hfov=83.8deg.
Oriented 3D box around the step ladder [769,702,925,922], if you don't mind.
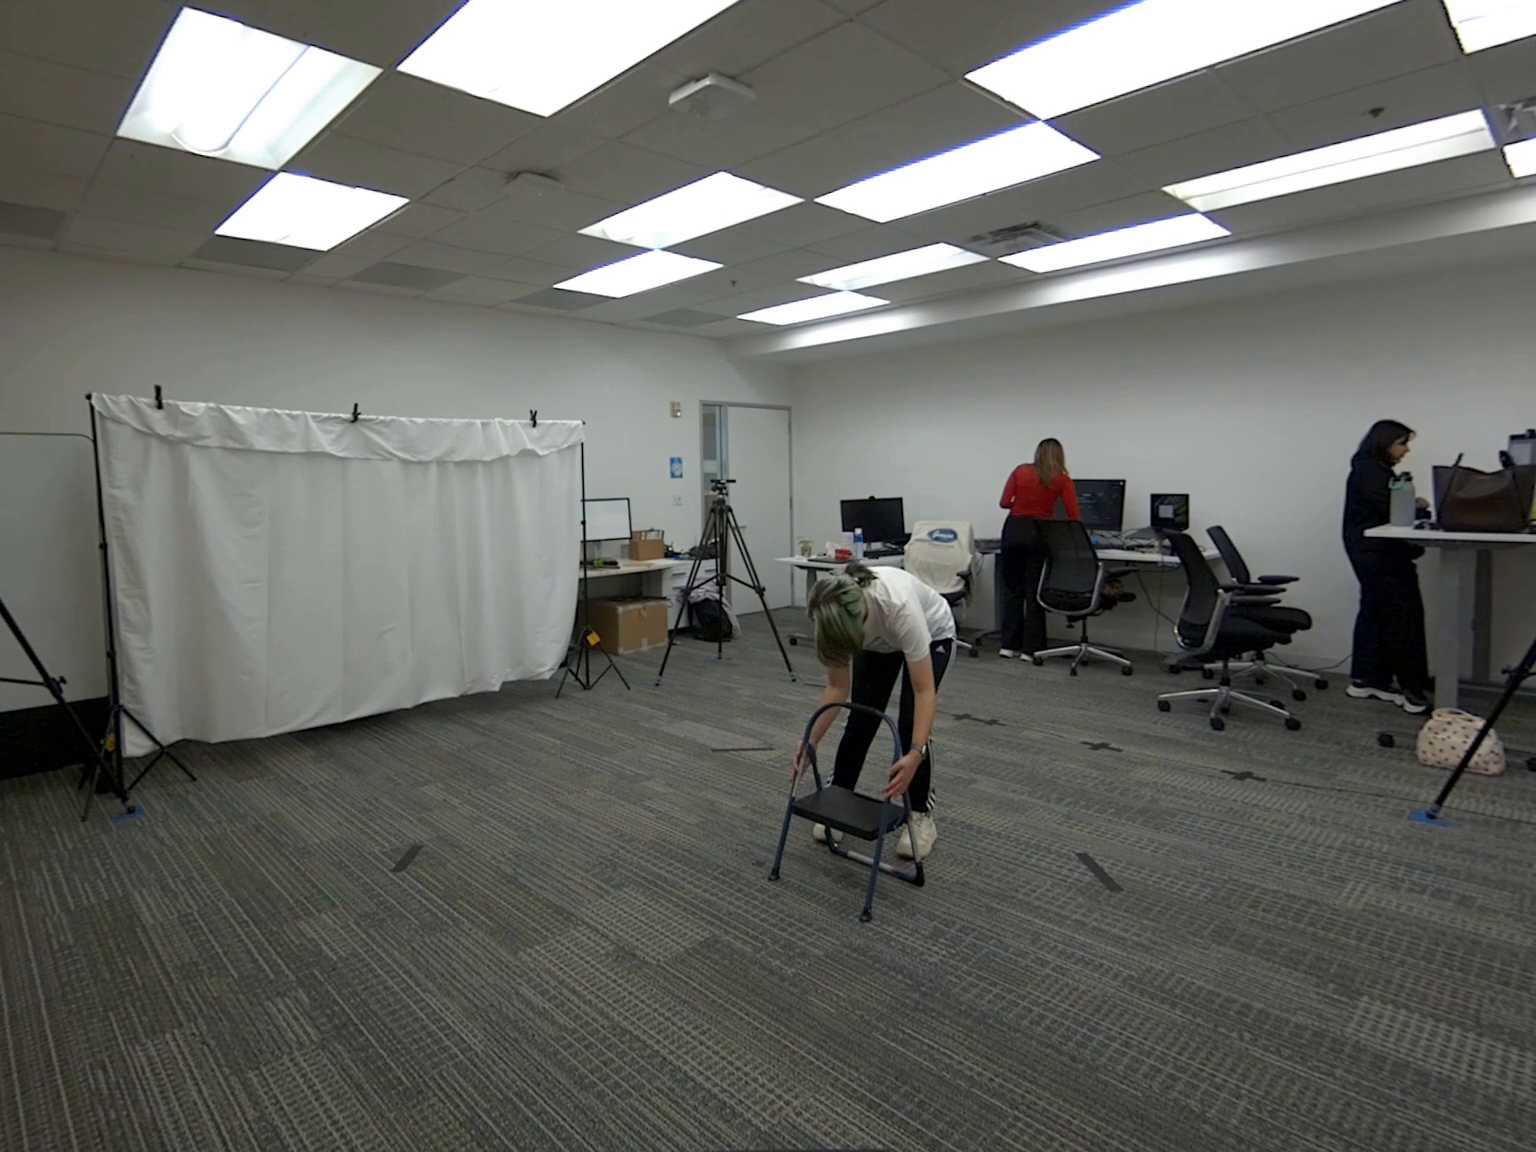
[{"bbox_3d":[0.268,0.758,2.935,0.444,0.603,0.340,4,7,44],"label":"step ladder"}]
